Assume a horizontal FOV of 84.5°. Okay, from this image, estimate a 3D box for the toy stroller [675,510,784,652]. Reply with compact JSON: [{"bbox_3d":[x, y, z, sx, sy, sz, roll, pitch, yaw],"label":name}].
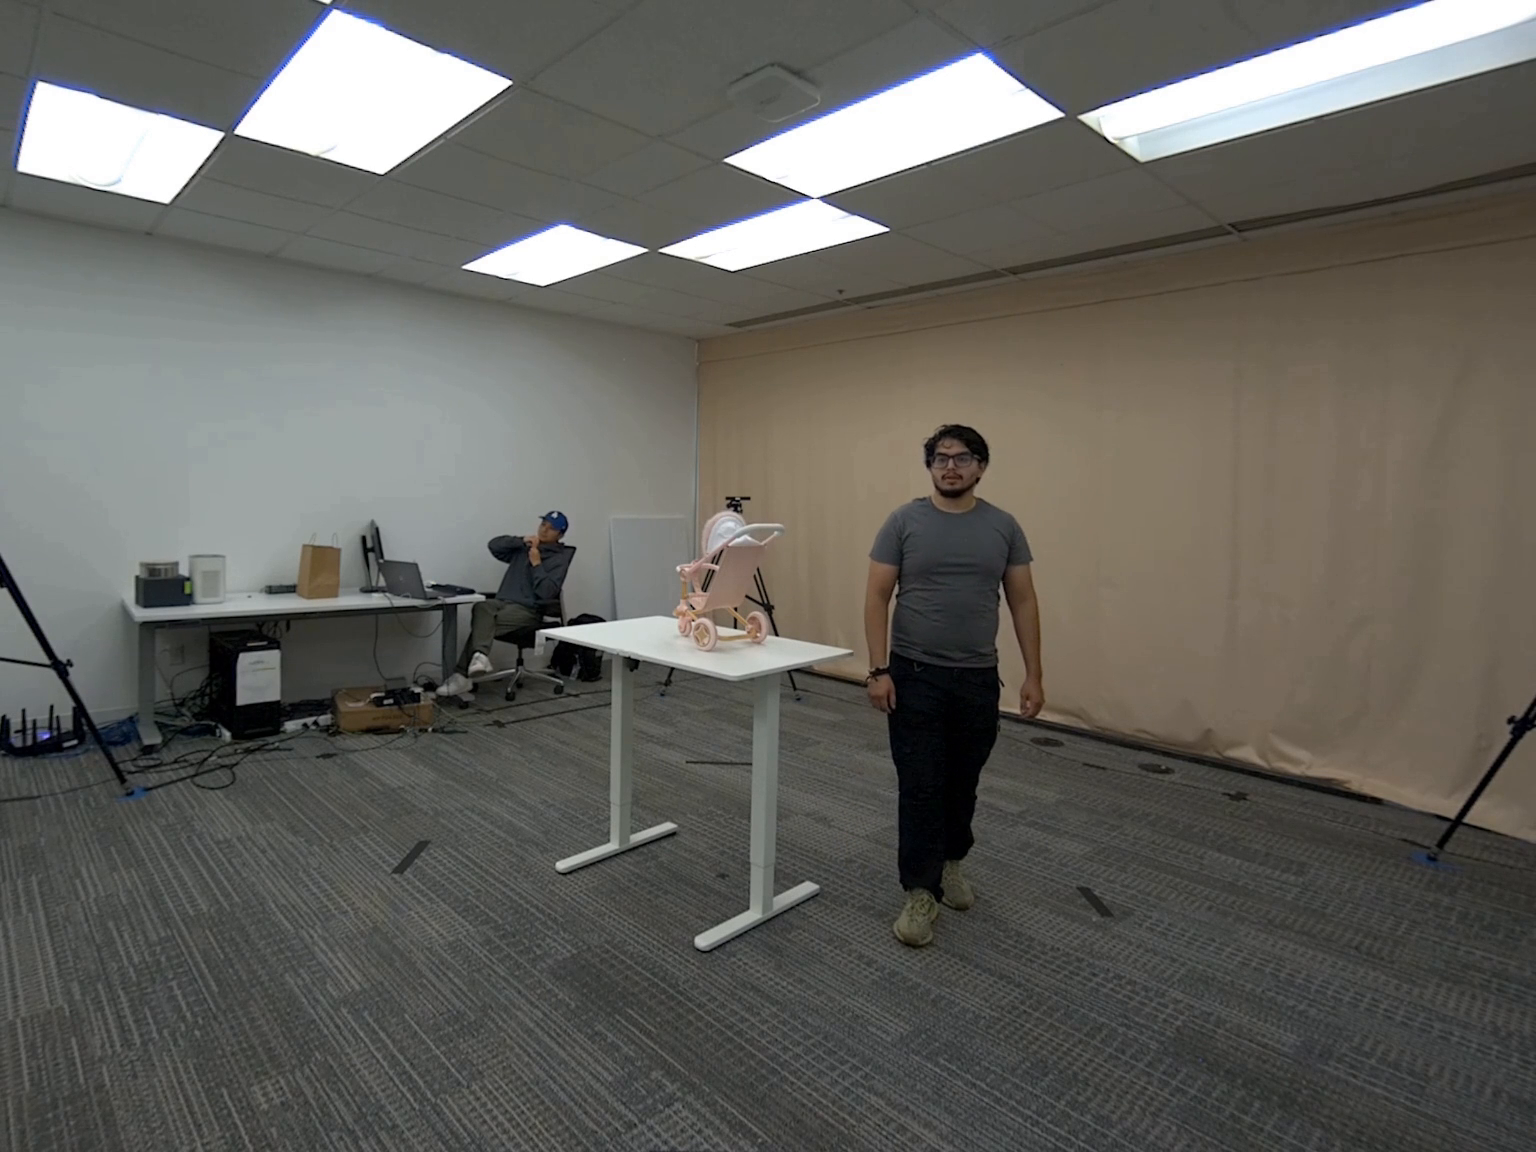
[{"bbox_3d":[-0.168,0.017,2.927,0.275,0.530,0.352,-2,23,-41],"label":"toy stroller"}]
